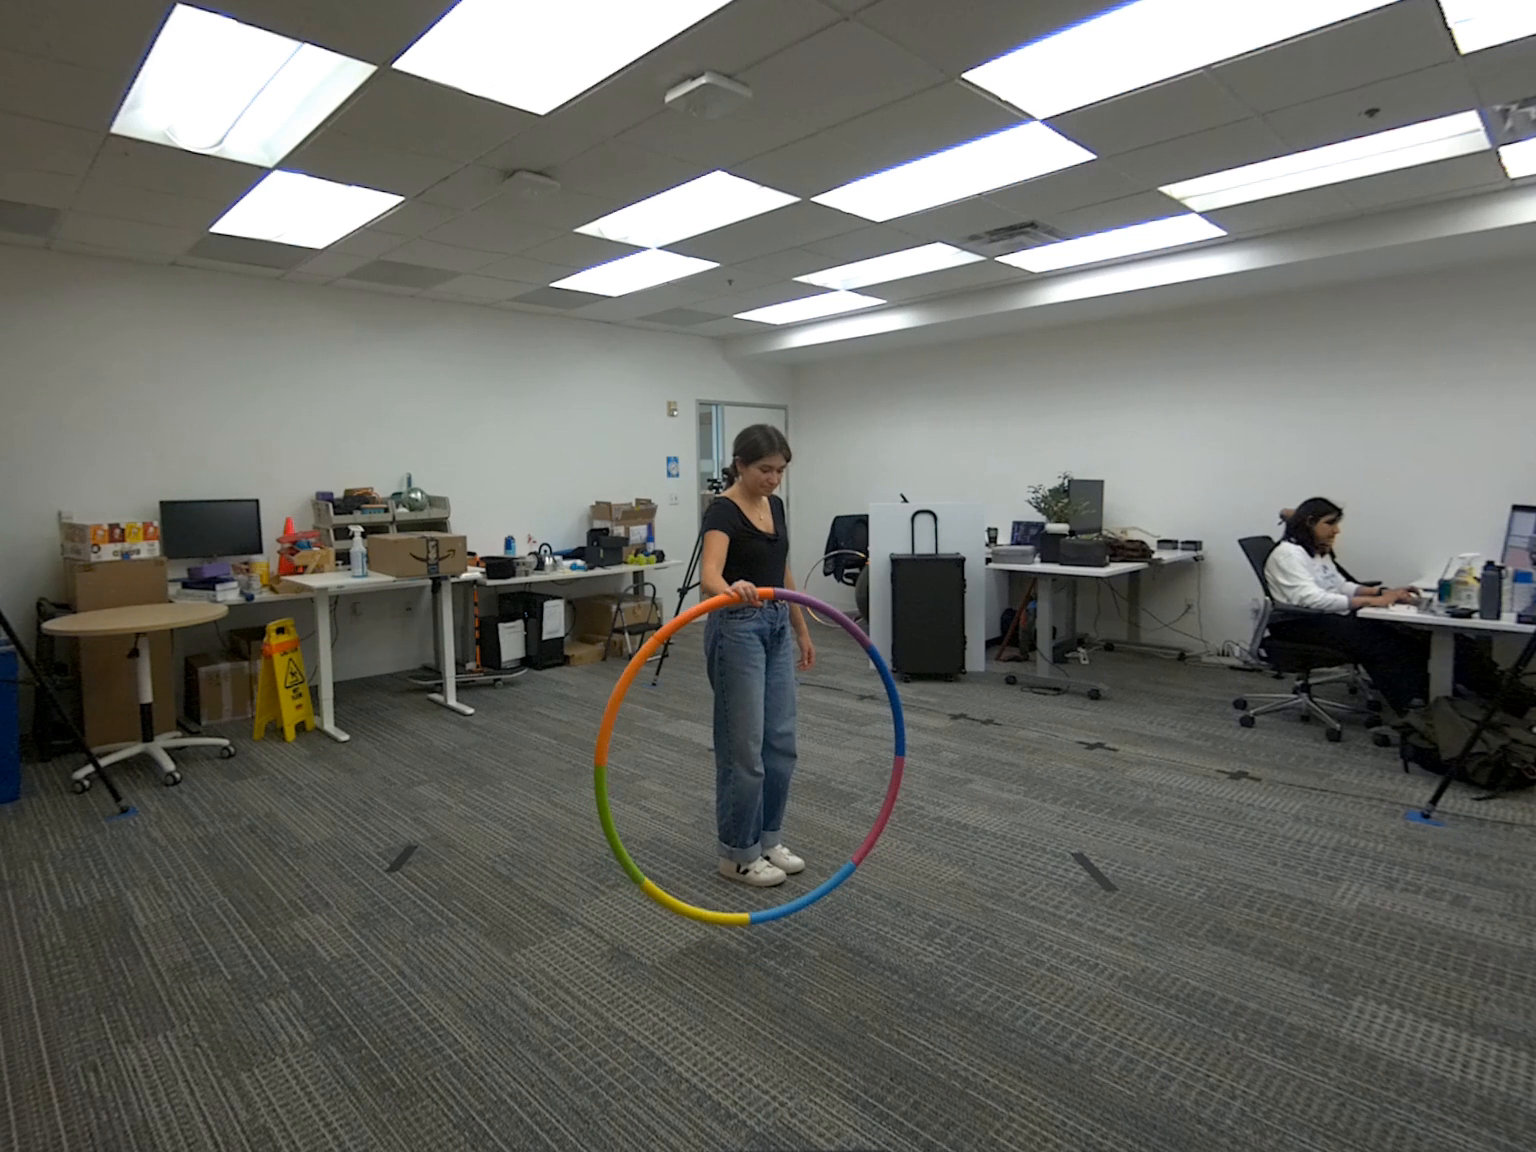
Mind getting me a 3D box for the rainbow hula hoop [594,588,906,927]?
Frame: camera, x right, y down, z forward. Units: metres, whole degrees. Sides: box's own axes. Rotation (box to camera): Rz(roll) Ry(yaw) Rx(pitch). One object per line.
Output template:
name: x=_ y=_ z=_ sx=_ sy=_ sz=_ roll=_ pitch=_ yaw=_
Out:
rainbow hula hoop: x=-0.021 y=0.525 z=2.505 sx=0.961 sy=0.975 sz=0.036 roll=-3 pitch=4 yaw=-20
